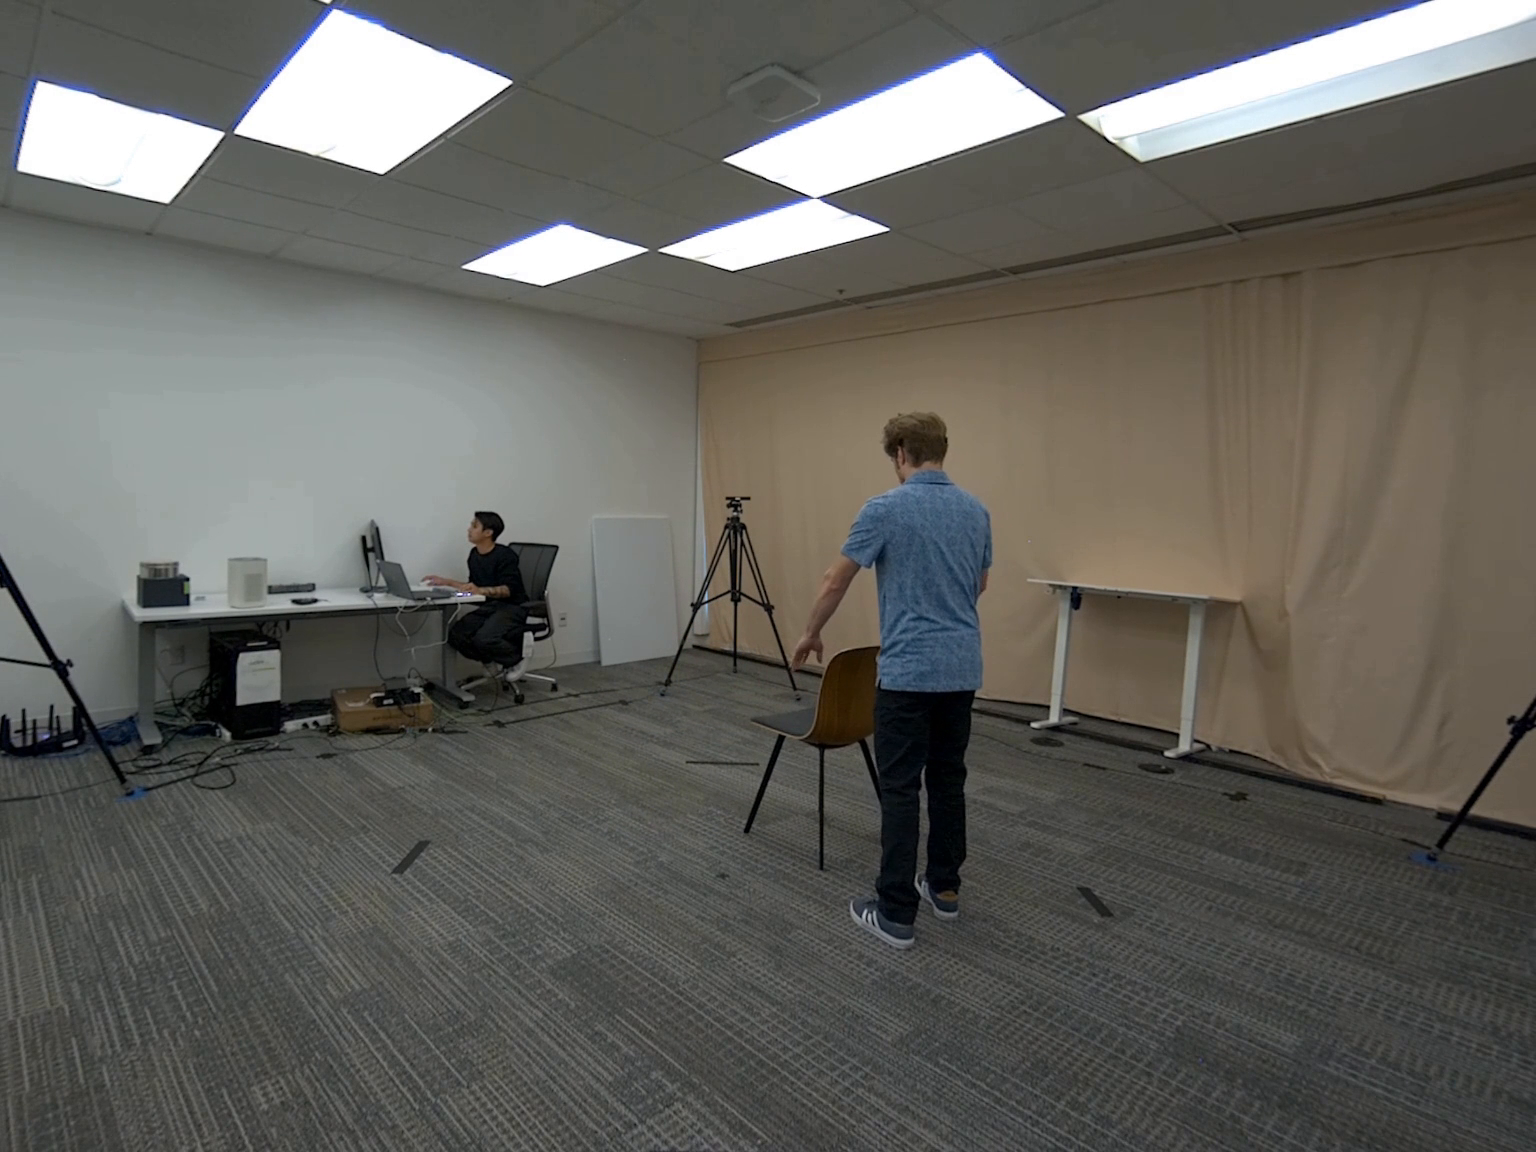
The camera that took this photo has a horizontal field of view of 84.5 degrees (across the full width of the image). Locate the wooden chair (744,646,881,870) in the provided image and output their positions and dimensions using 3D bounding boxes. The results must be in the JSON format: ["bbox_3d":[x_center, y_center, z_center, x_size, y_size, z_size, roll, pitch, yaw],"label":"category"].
[{"bbox_3d":[0.214,0.656,3.454,0.467,0.873,0.537,-1,9,-41],"label":"wooden chair"}]
